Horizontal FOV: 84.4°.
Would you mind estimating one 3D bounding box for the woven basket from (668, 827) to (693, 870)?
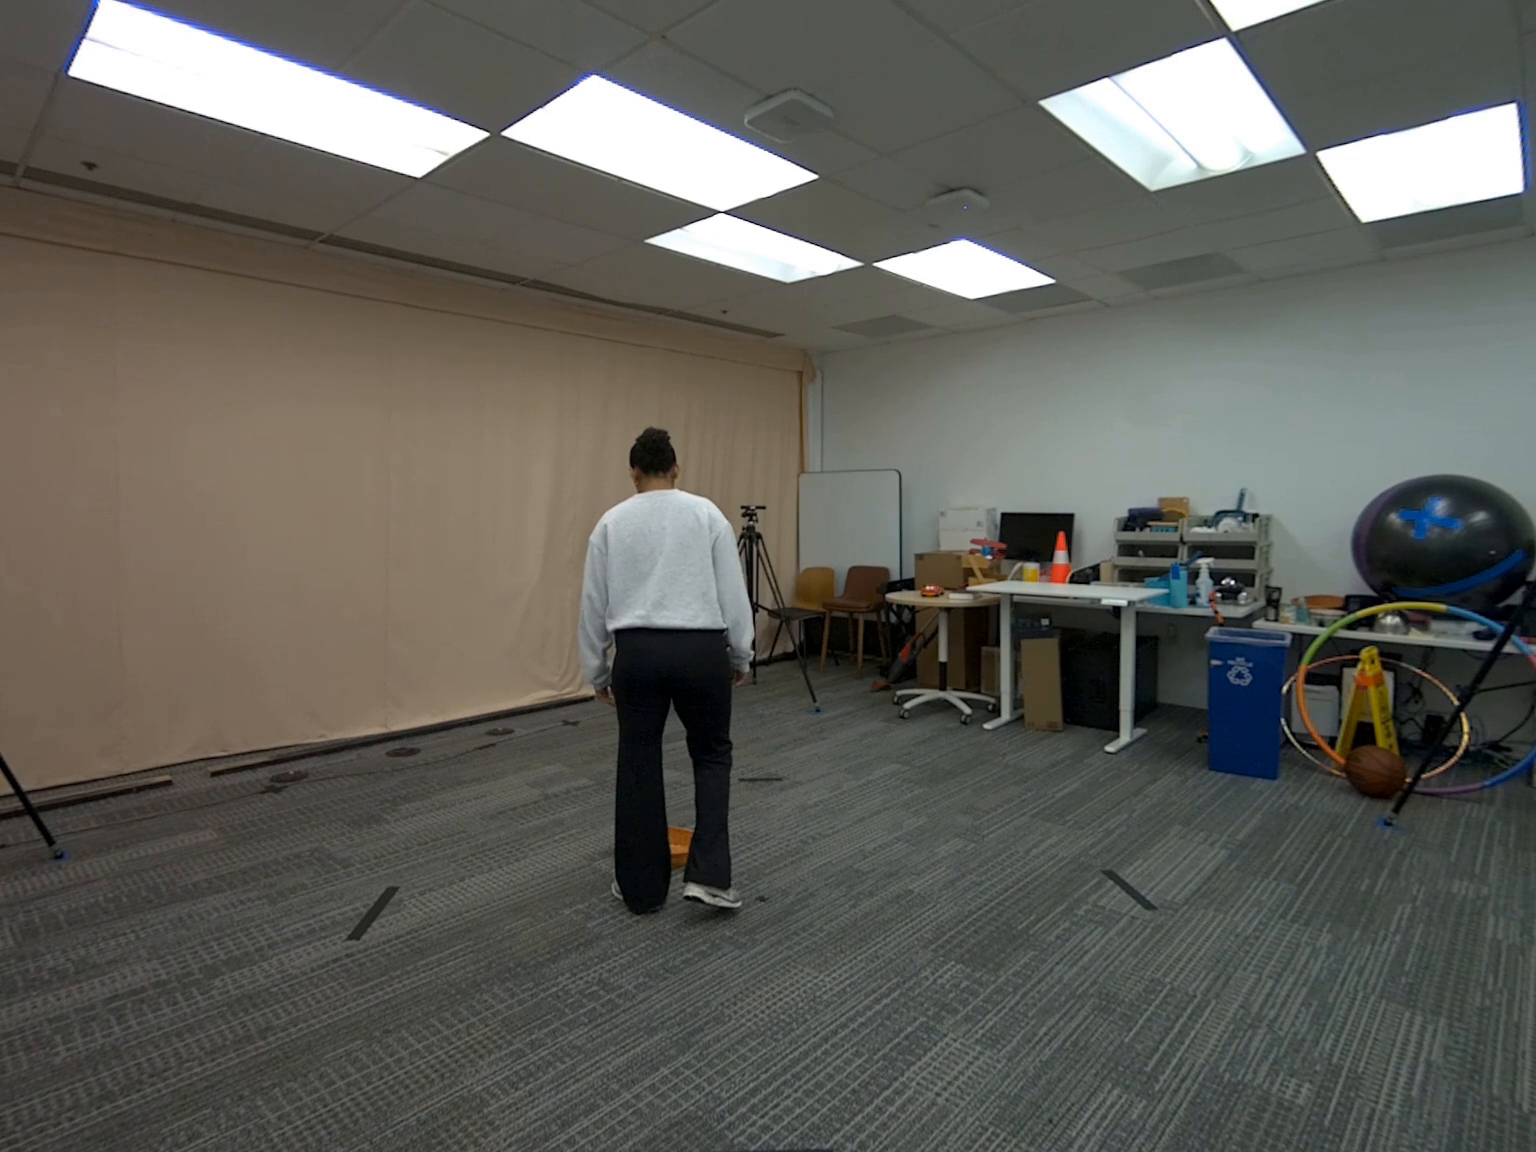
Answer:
[{"bbox_3d":[-0.424,1.075,3.353,0.358,0.073,0.247,2,5,22],"label":"woven basket"}]
